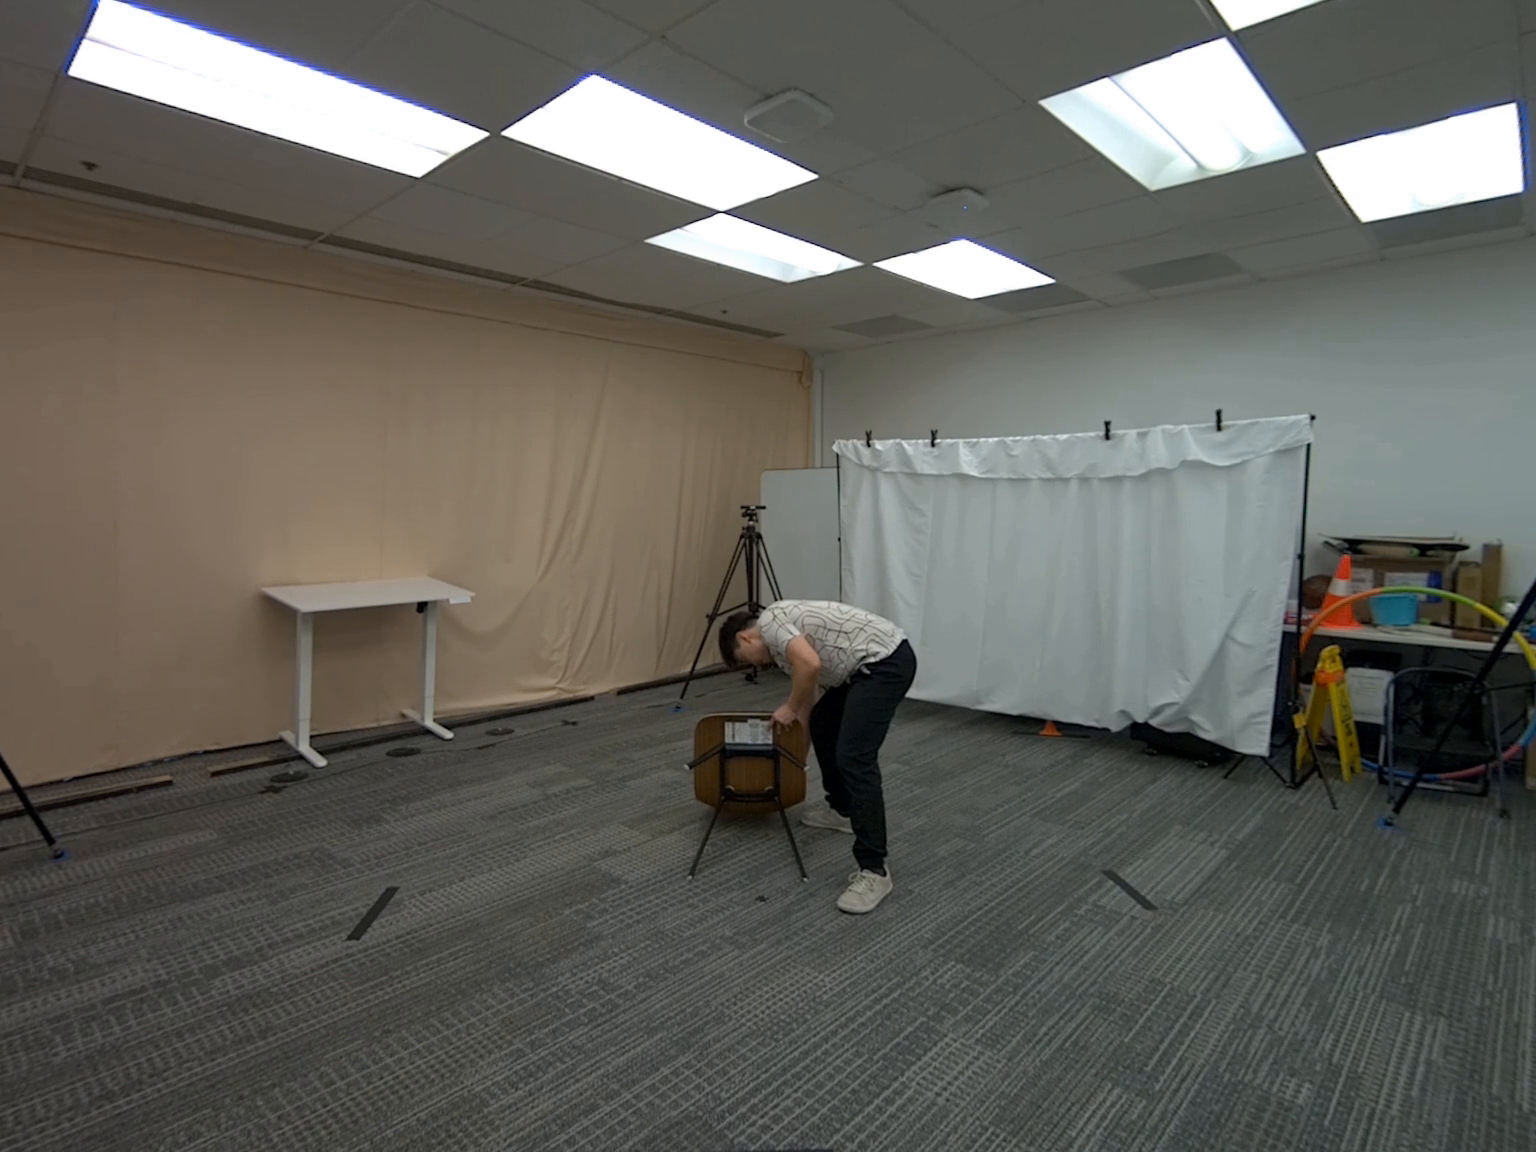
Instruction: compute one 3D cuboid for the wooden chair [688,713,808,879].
[{"bbox_3d":[-0.073,0.817,3.497,0.479,0.521,0.879,0,6,1],"label":"wooden chair"}]
